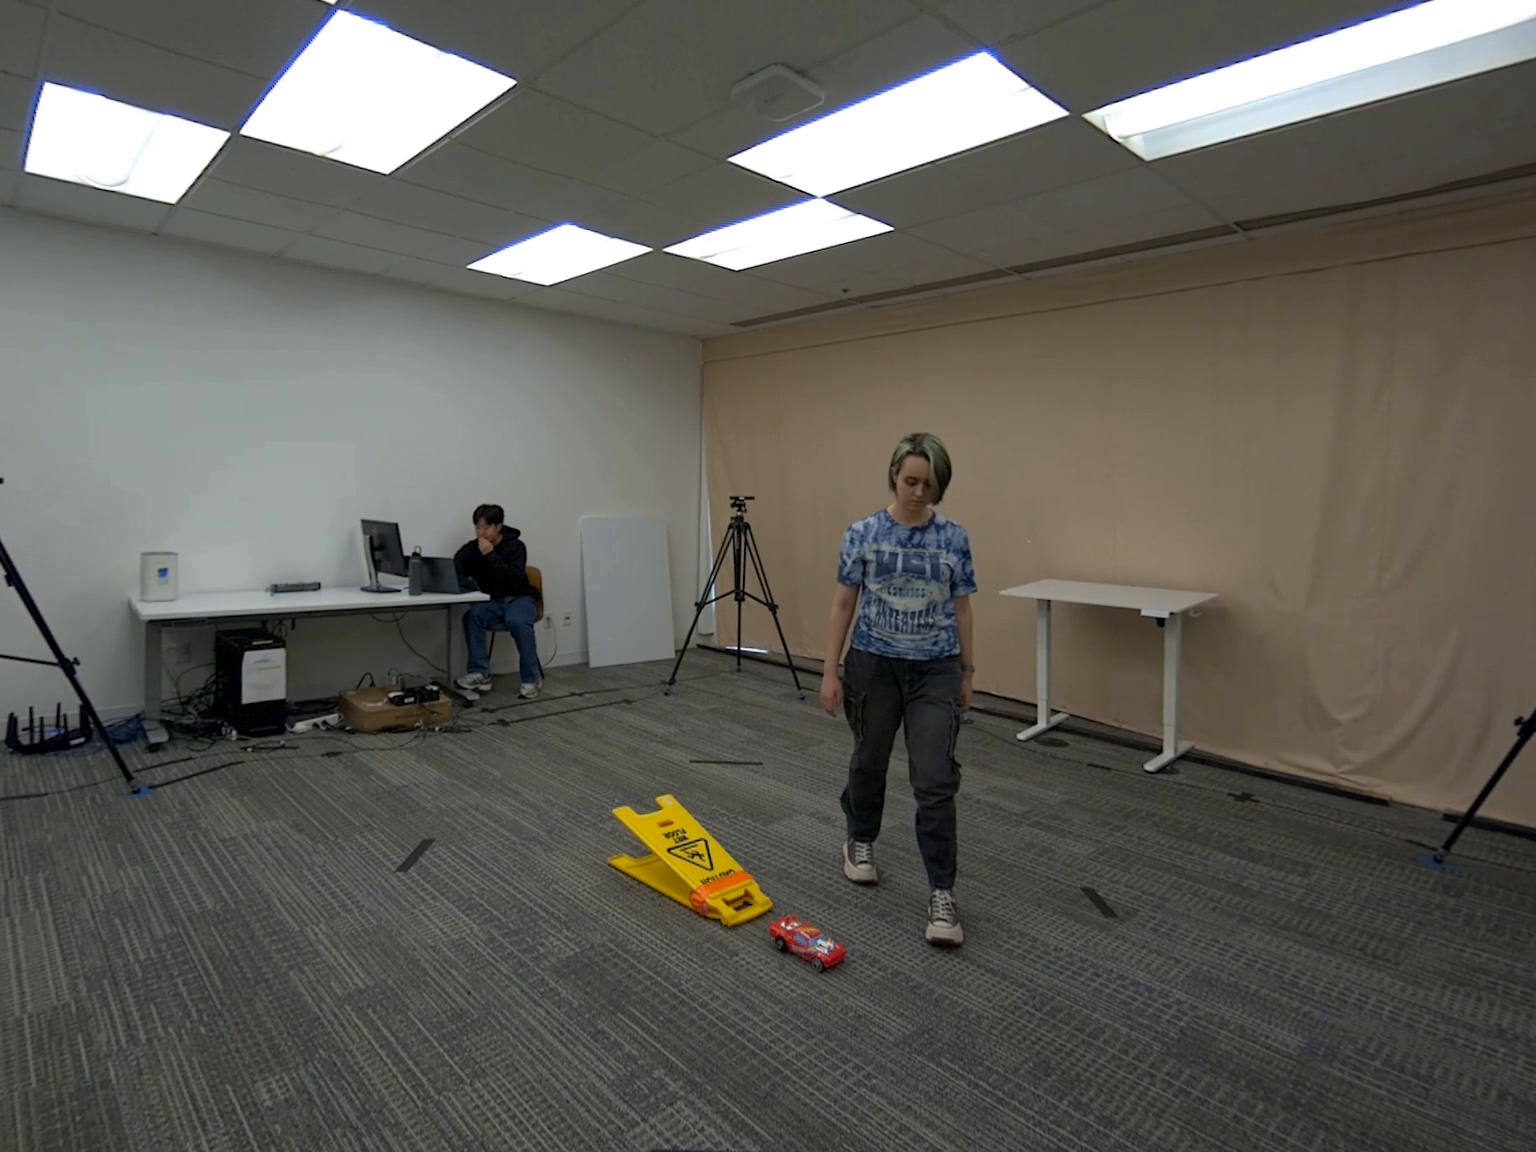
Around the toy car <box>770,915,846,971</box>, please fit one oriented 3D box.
[{"bbox_3d":[0.111,1.127,2.584,0.127,0.082,0.262,-3,18,-45],"label":"toy car"}]
